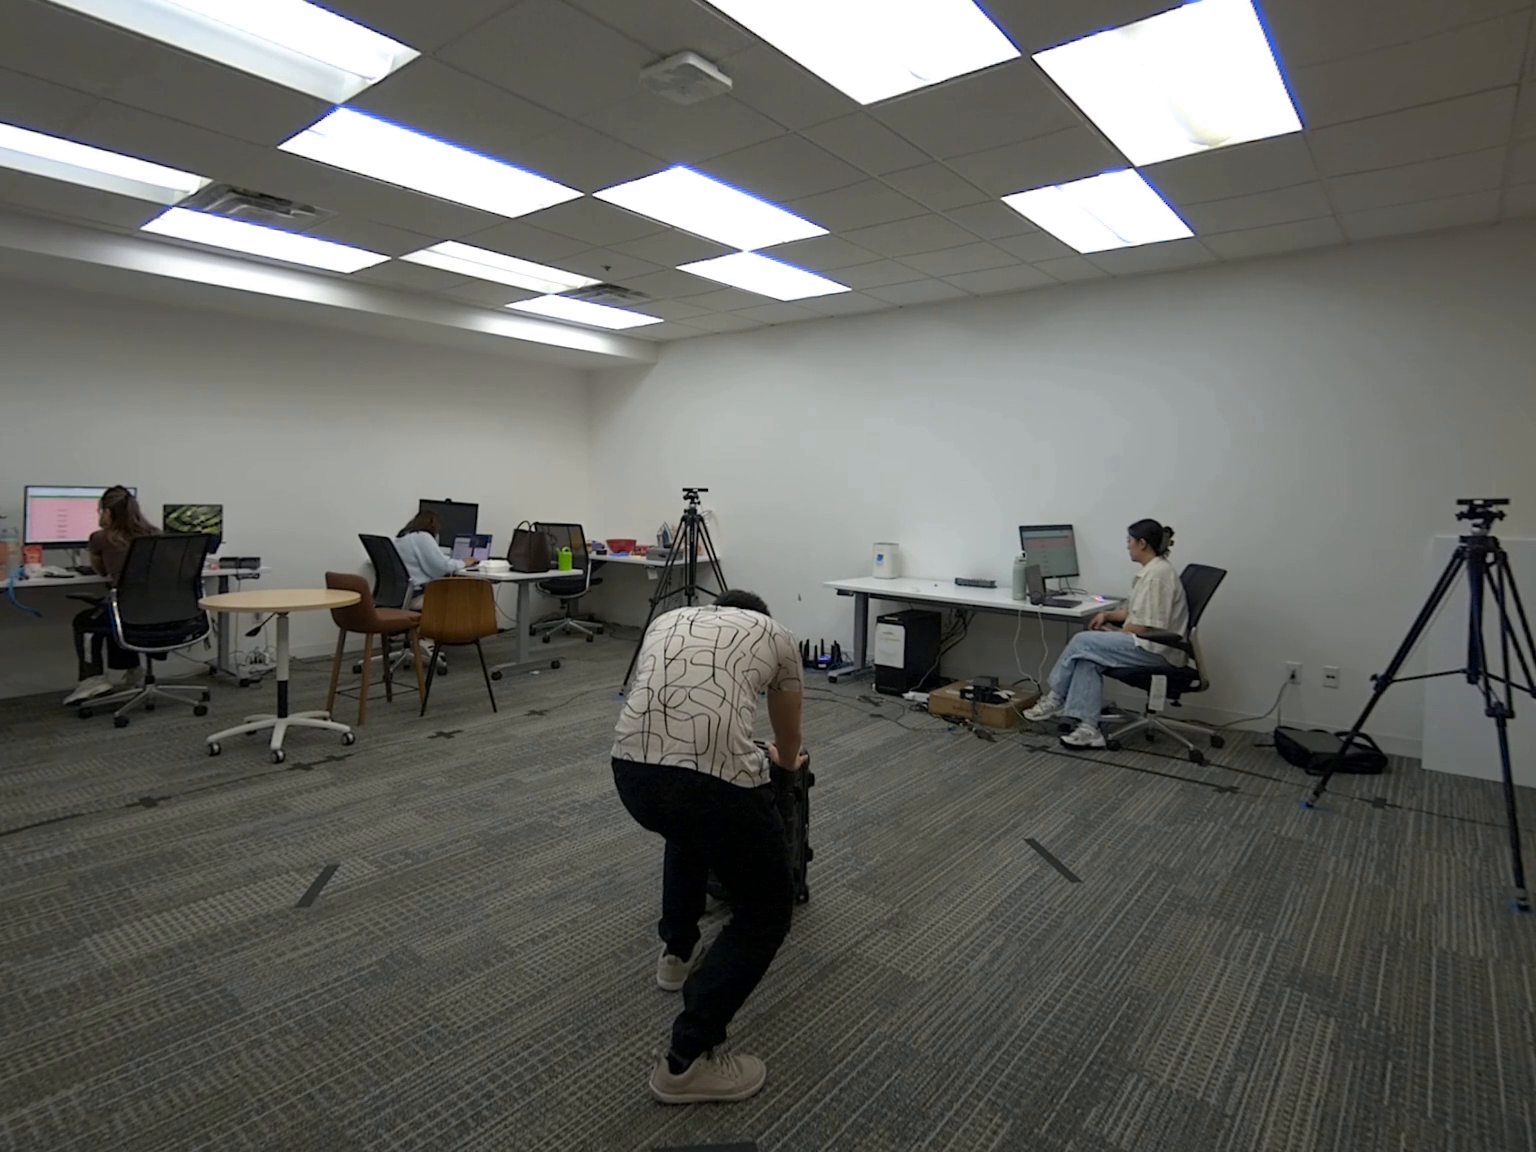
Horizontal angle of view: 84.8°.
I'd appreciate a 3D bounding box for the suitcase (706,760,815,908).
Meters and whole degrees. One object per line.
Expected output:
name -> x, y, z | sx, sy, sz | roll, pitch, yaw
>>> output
suitcase -> -0.057, 0.821, 2.850 | 0.383, 0.549, 0.243 | 2, 1, 20
